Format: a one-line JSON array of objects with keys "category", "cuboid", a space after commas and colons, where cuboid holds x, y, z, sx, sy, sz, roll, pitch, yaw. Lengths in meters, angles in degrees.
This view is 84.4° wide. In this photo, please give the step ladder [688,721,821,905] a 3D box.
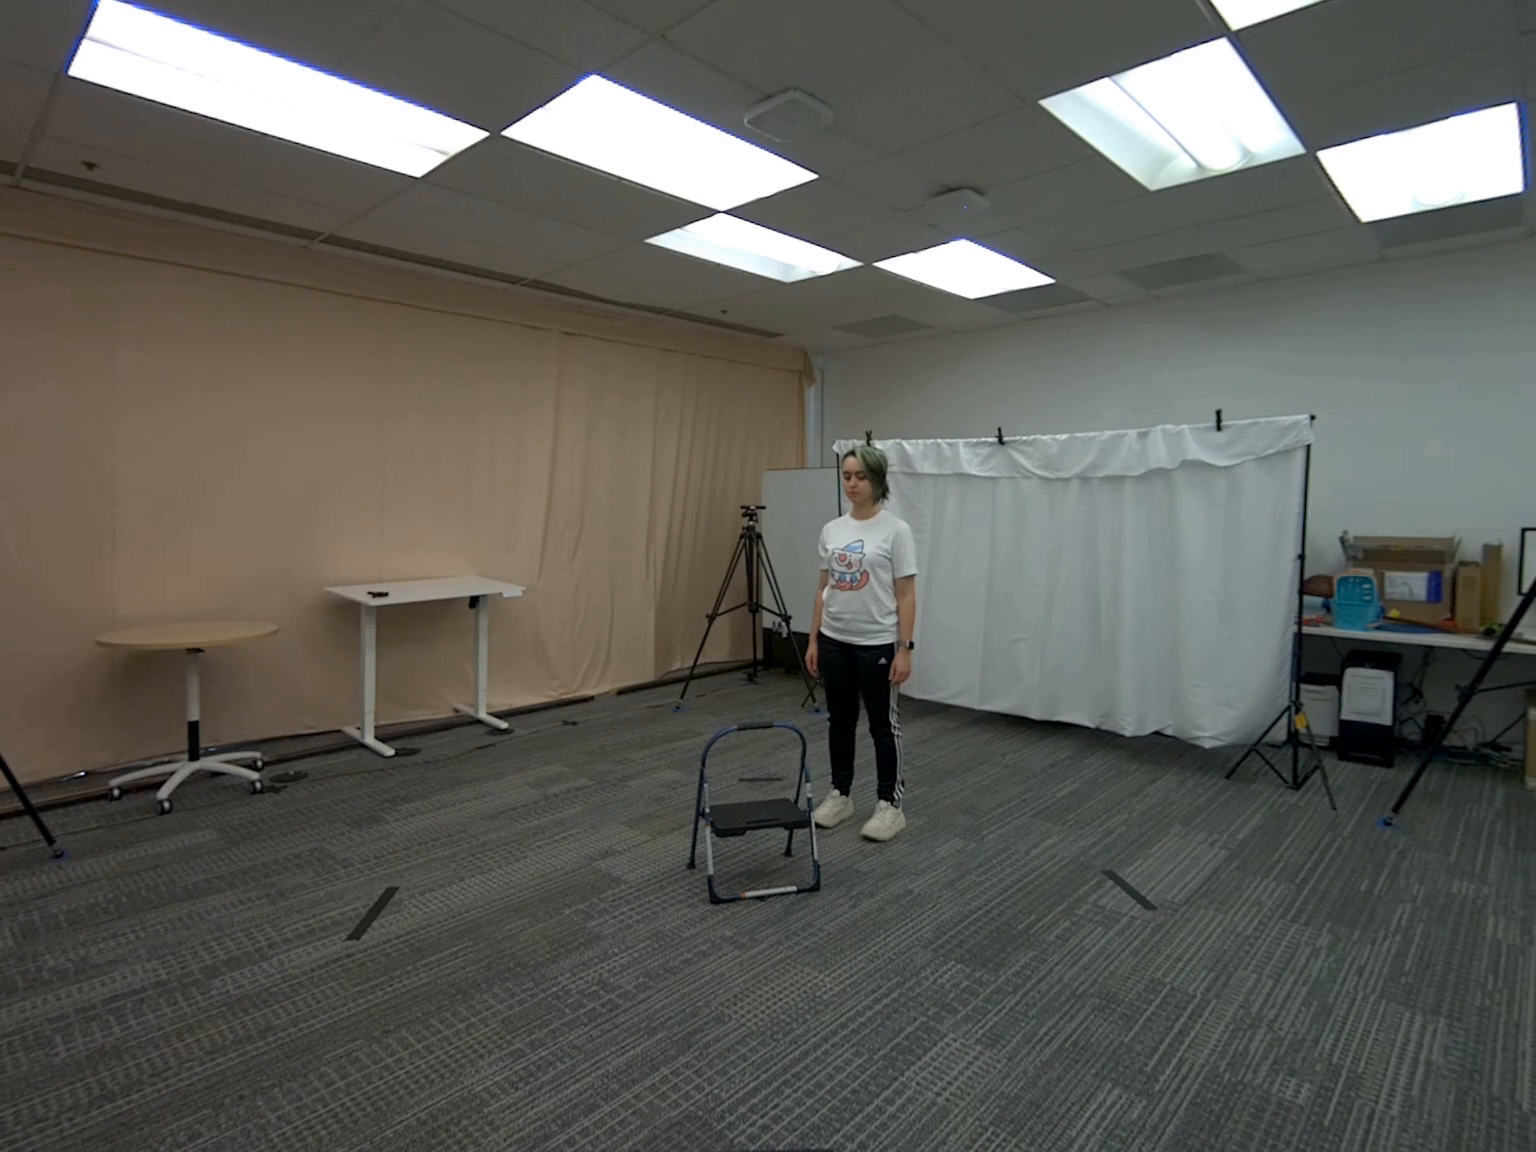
[{"category": "step ladder", "cuboid": [-0.057, 0.829, 3.134, 0.423, 0.605, 0.356, -2, 4, -17]}]
